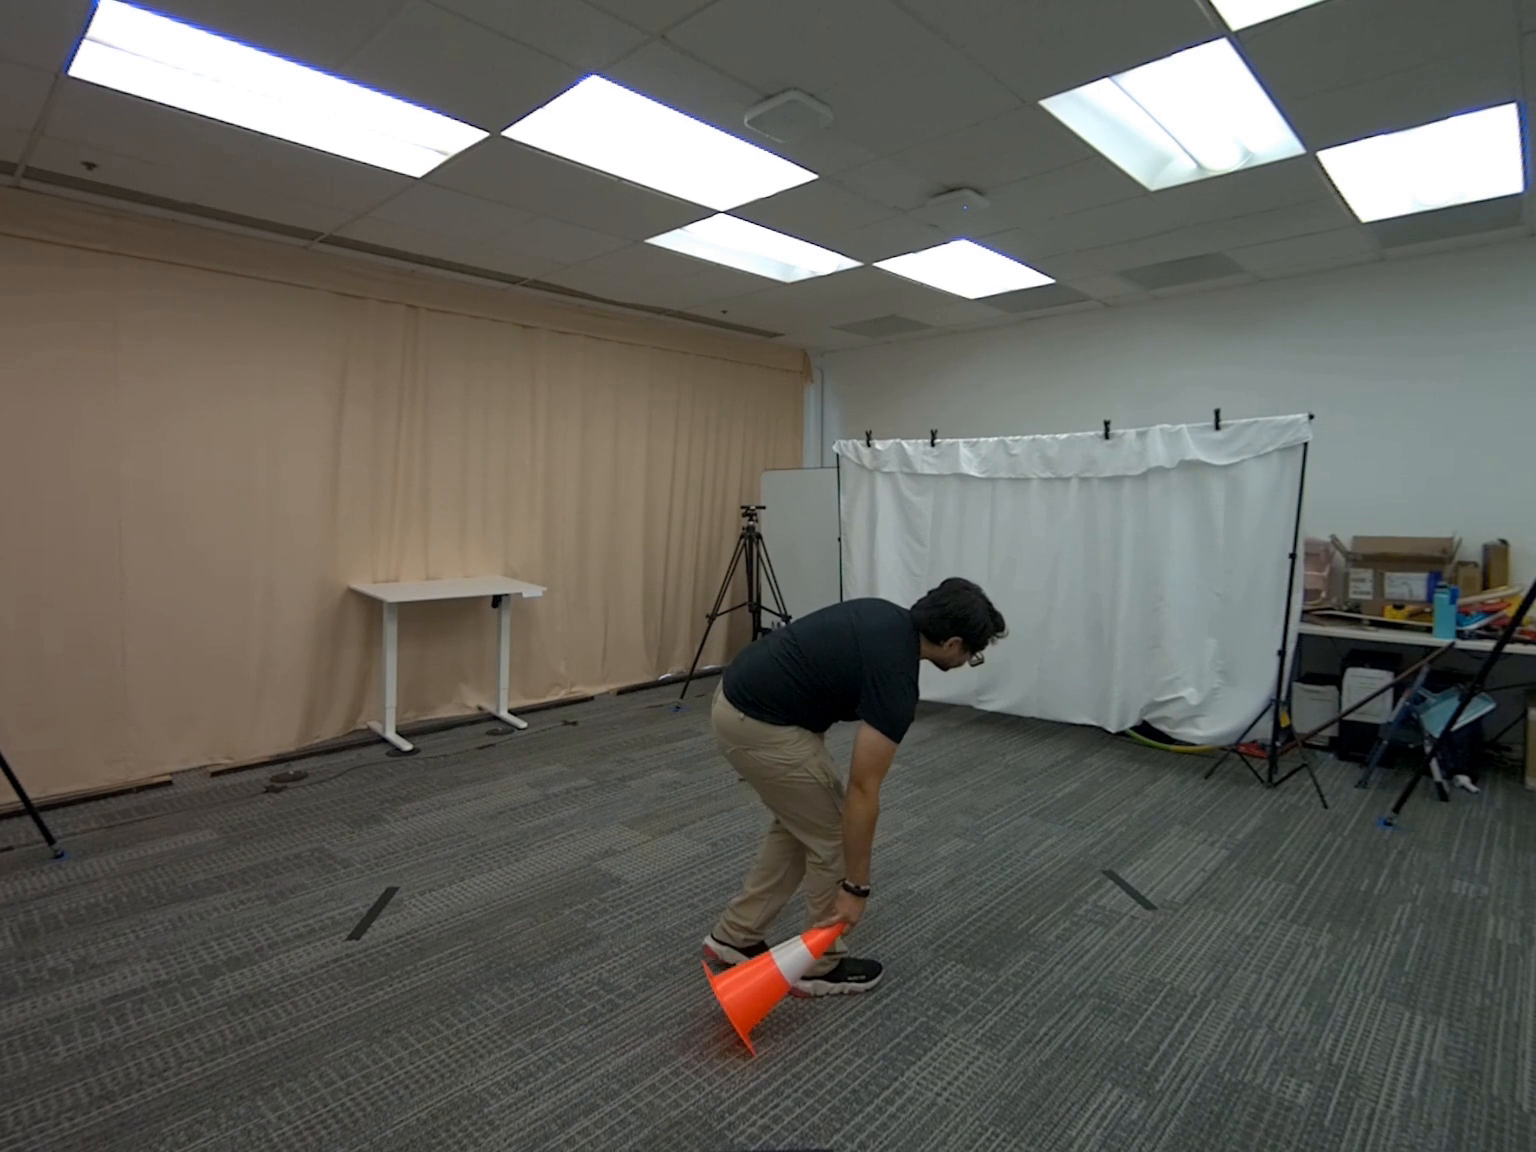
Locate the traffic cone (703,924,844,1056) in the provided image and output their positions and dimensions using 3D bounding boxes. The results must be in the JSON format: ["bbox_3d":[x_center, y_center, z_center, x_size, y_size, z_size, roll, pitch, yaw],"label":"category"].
[{"bbox_3d":[0.044,1.021,2.229,0.381,0.202,0.207,-33,14,-9],"label":"traffic cone"}]
